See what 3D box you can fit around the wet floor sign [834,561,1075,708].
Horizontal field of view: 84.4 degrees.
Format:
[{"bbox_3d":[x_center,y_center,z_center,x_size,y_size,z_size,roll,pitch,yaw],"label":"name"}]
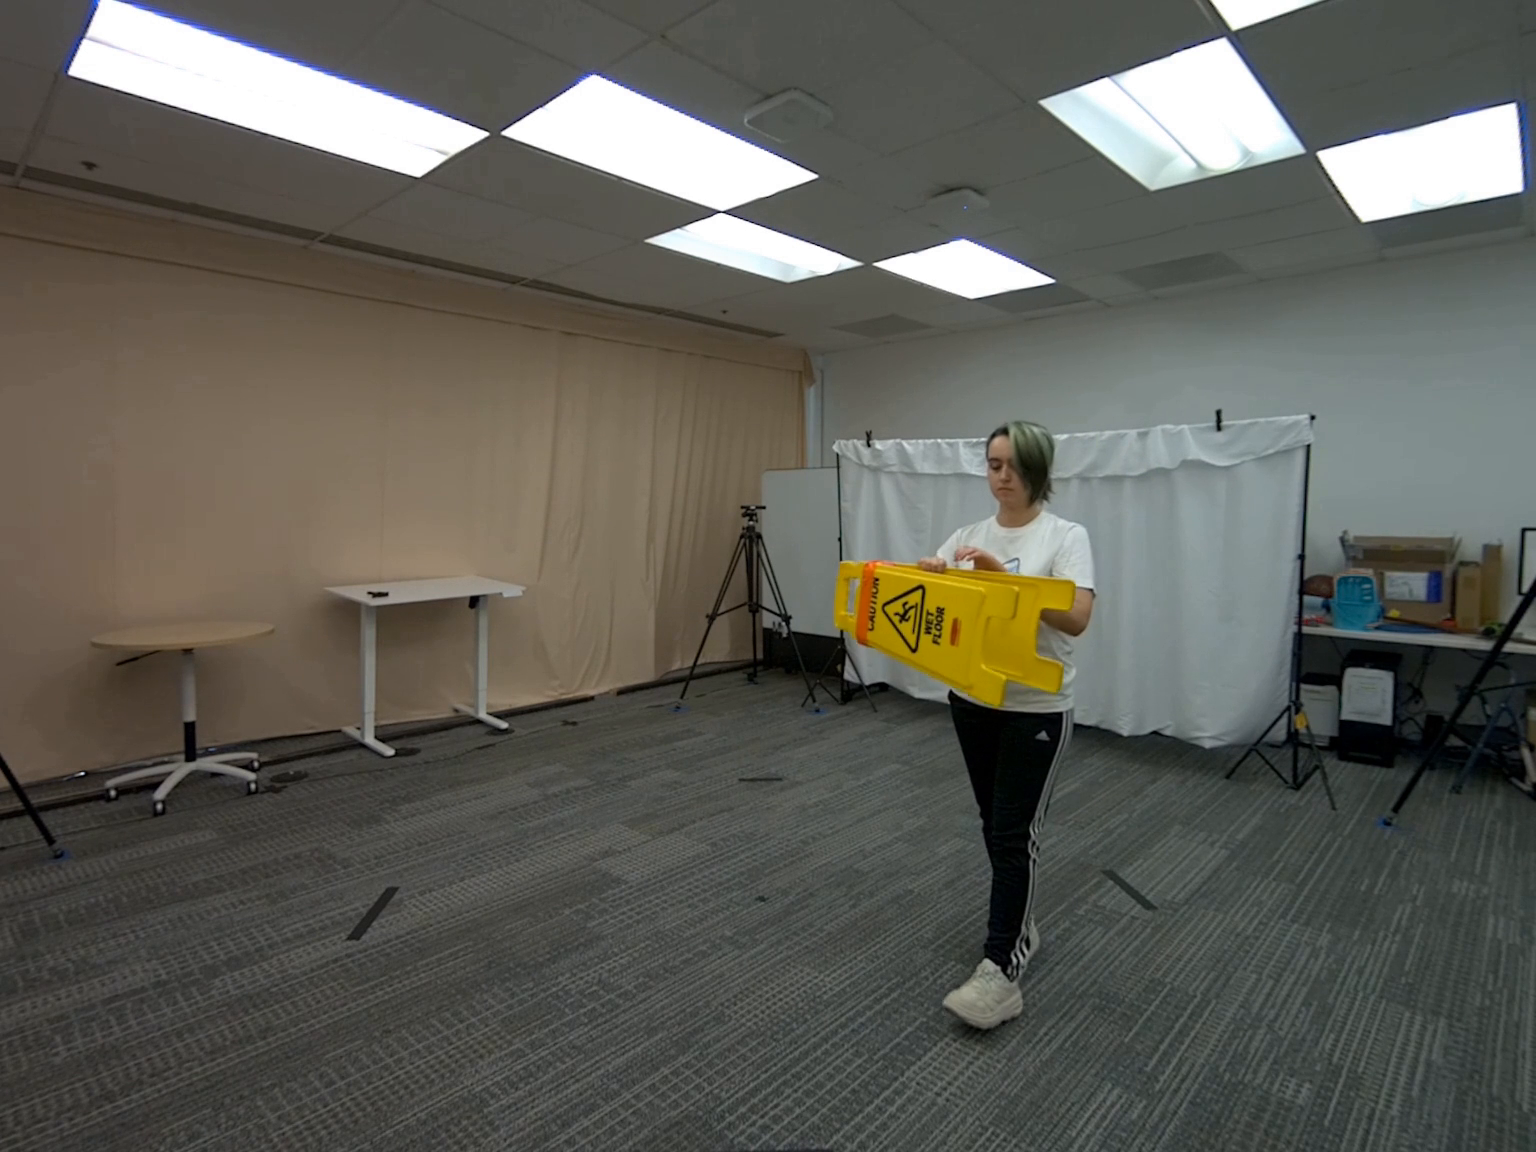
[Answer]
[{"bbox_3d":[0.427,0.104,2.214,0.281,0.281,0.669,-1,10,-40],"label":"wet floor sign"}]
